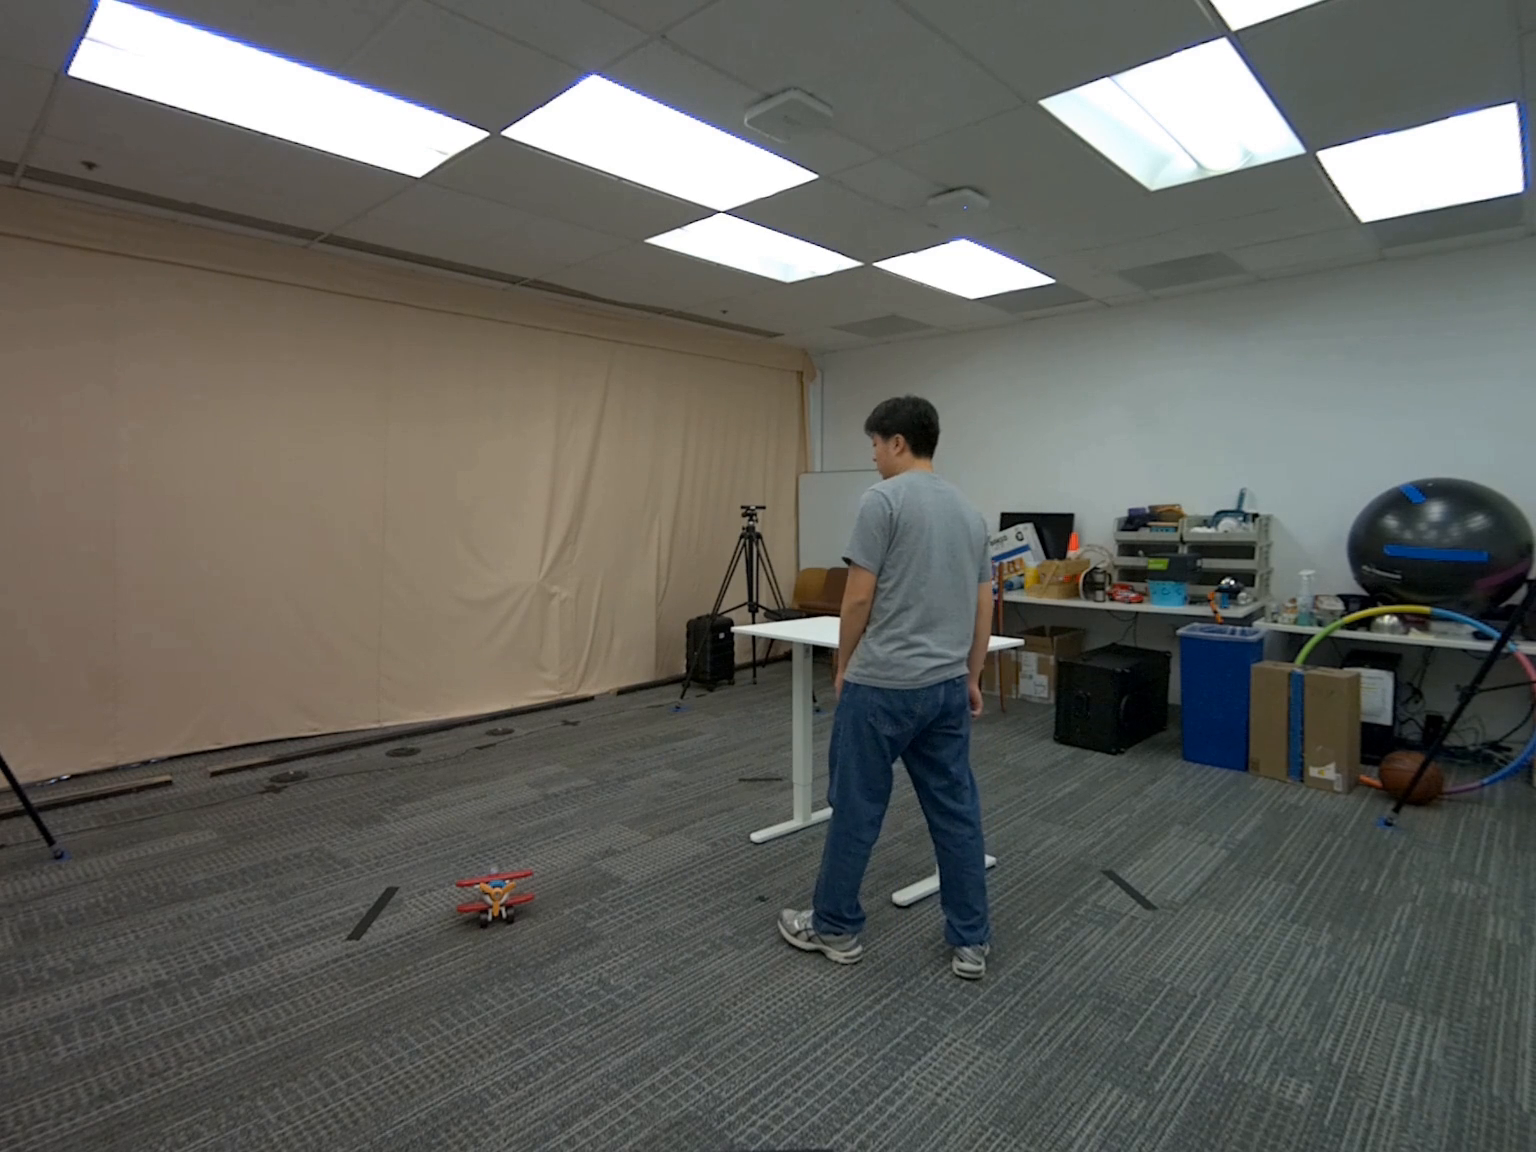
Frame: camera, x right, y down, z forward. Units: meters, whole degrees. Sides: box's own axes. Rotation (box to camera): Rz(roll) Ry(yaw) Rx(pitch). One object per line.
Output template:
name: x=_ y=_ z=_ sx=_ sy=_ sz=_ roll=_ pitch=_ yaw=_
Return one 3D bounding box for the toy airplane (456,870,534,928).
toy airplane: x=-0.956 y=1.085 z=2.881 sx=0.268 sy=0.156 sz=0.244 roll=4 pitch=7 yaw=41
